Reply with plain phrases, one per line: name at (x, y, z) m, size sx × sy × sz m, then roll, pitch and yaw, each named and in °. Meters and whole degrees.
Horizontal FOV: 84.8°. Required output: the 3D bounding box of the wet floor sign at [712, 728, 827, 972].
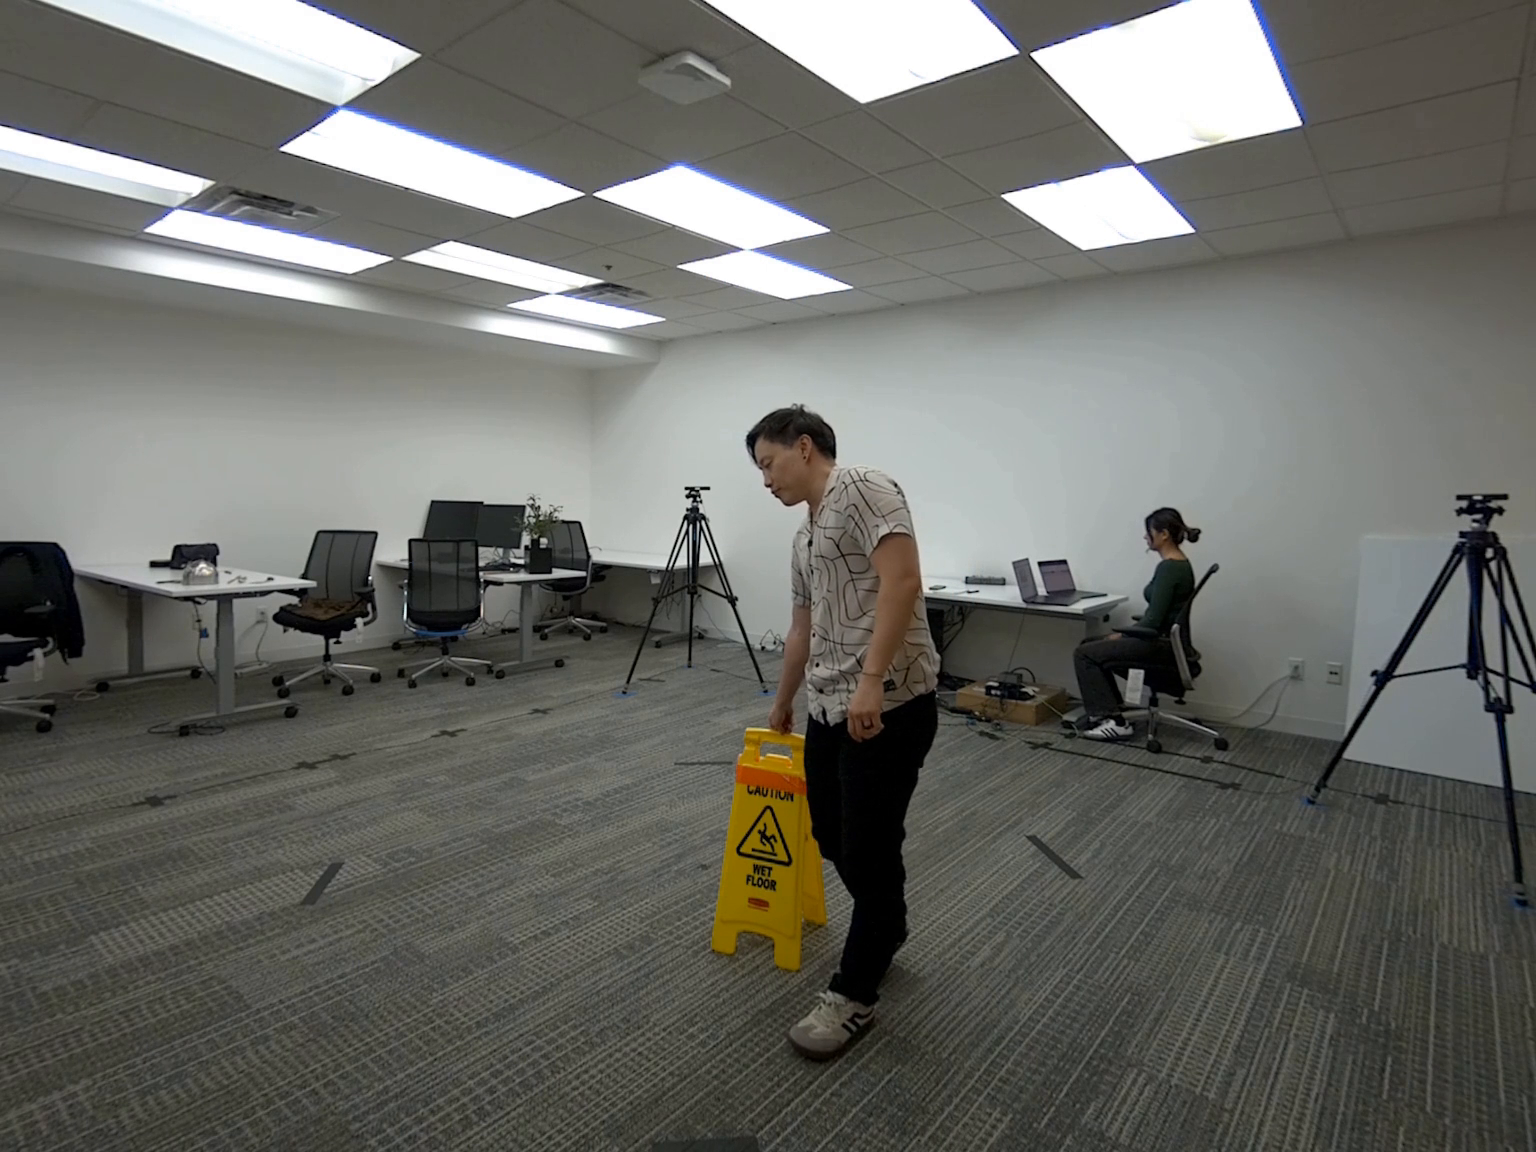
wet floor sign at (0.008, 0.794, 2.625) m, size 0.289 × 0.644 × 0.284 m, roll 4°, pitch 3°, yaw 21°
